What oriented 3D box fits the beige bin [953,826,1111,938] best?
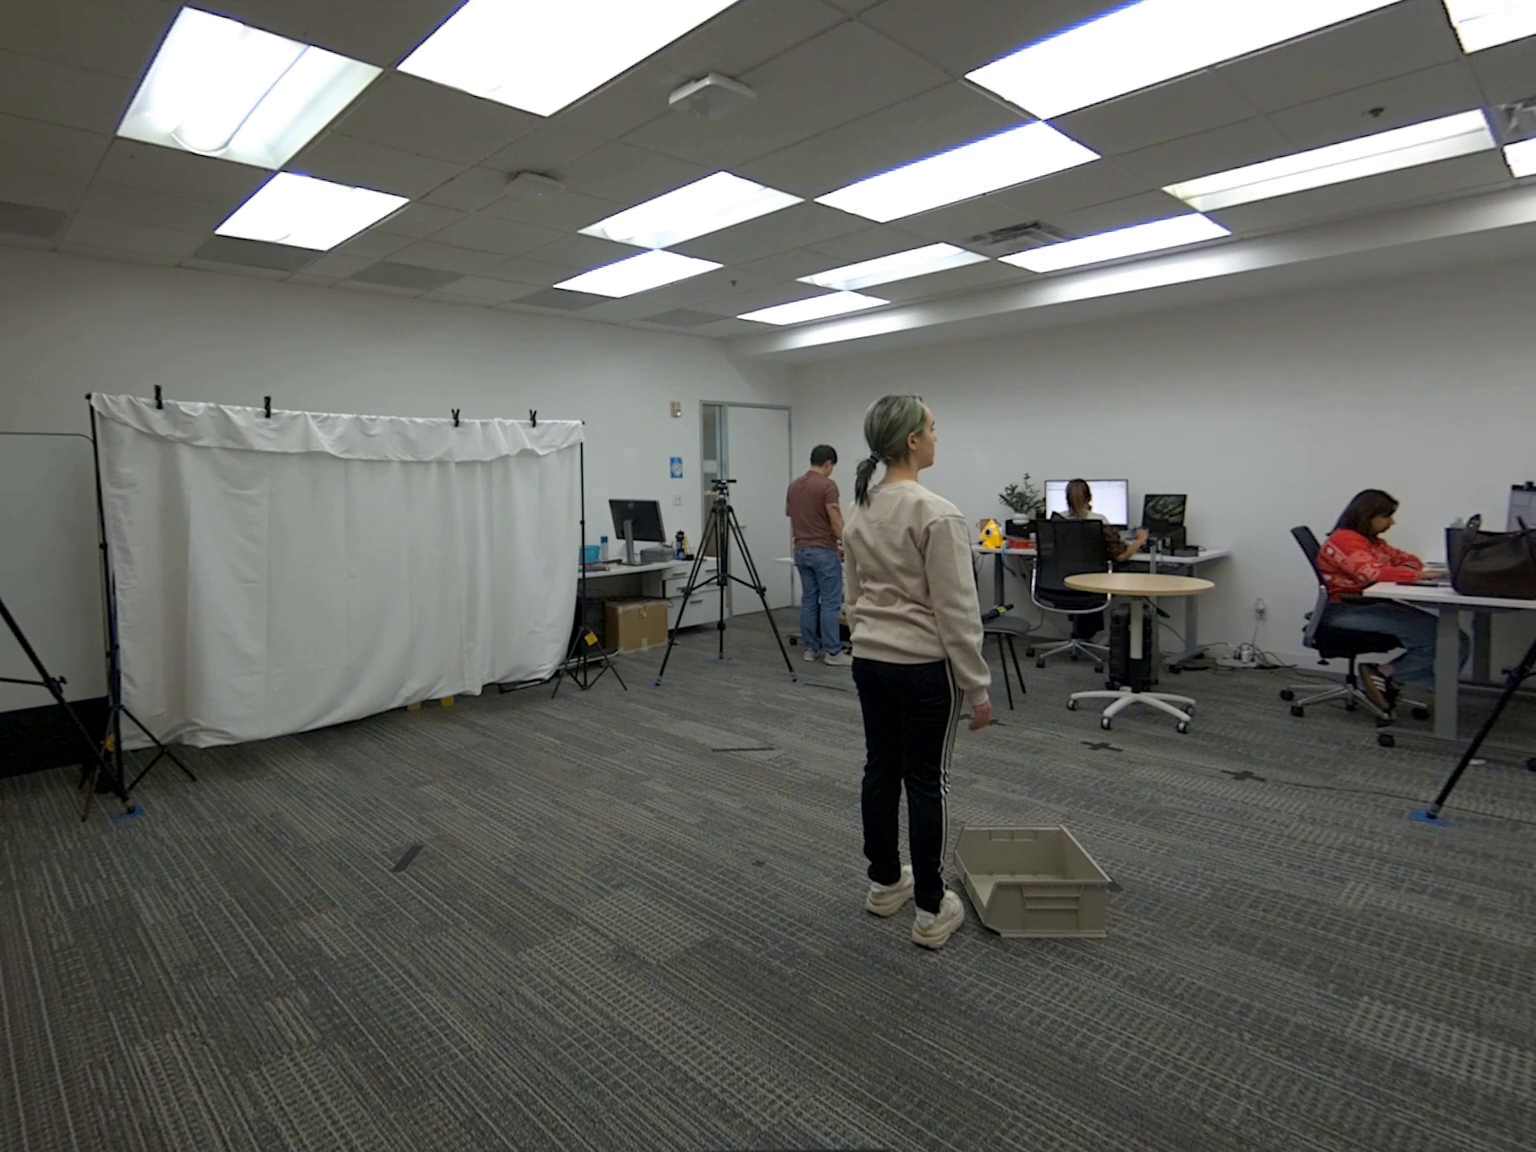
[{"bbox_3d":[0.836,0.977,2.770,0.377,0.188,0.424,-1,6,0],"label":"beige bin"}]
